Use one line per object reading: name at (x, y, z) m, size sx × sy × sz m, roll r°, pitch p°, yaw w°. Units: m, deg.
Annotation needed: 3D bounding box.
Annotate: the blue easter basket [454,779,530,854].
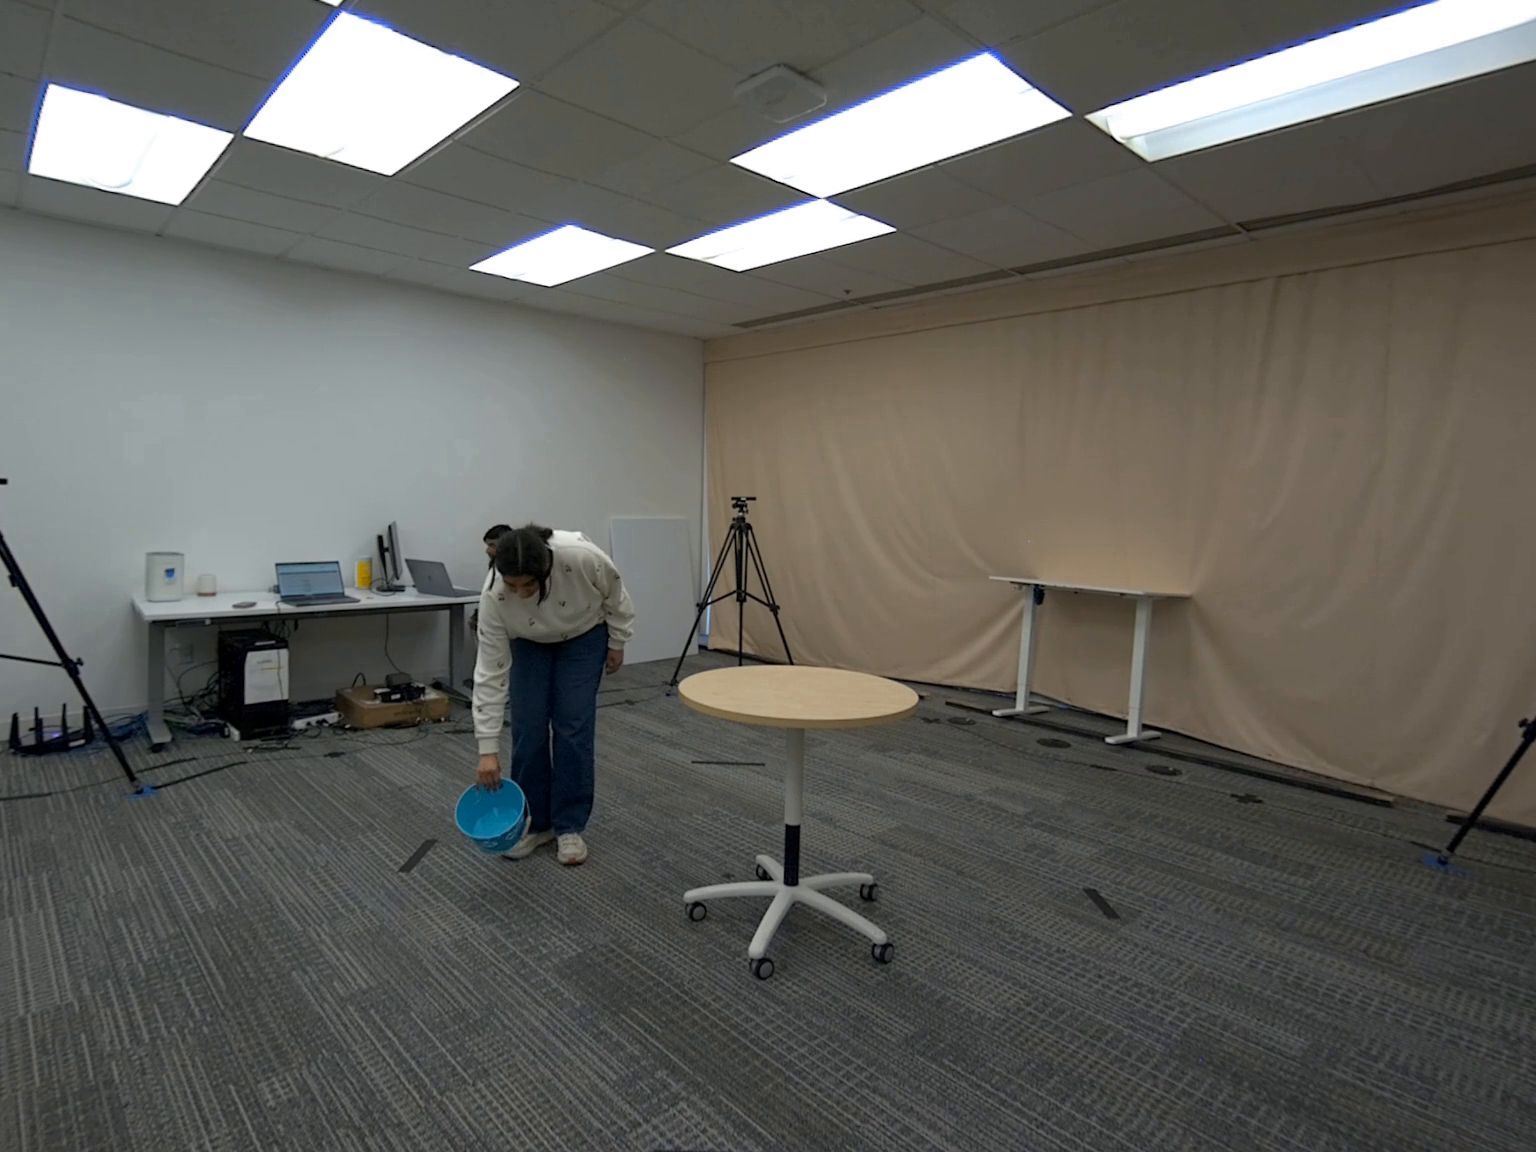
blue easter basket at (-0.967, 0.839, 2.902) m, size 0.244 × 0.152 × 0.249 m, roll -2°, pitch 45°, yaw 1°
